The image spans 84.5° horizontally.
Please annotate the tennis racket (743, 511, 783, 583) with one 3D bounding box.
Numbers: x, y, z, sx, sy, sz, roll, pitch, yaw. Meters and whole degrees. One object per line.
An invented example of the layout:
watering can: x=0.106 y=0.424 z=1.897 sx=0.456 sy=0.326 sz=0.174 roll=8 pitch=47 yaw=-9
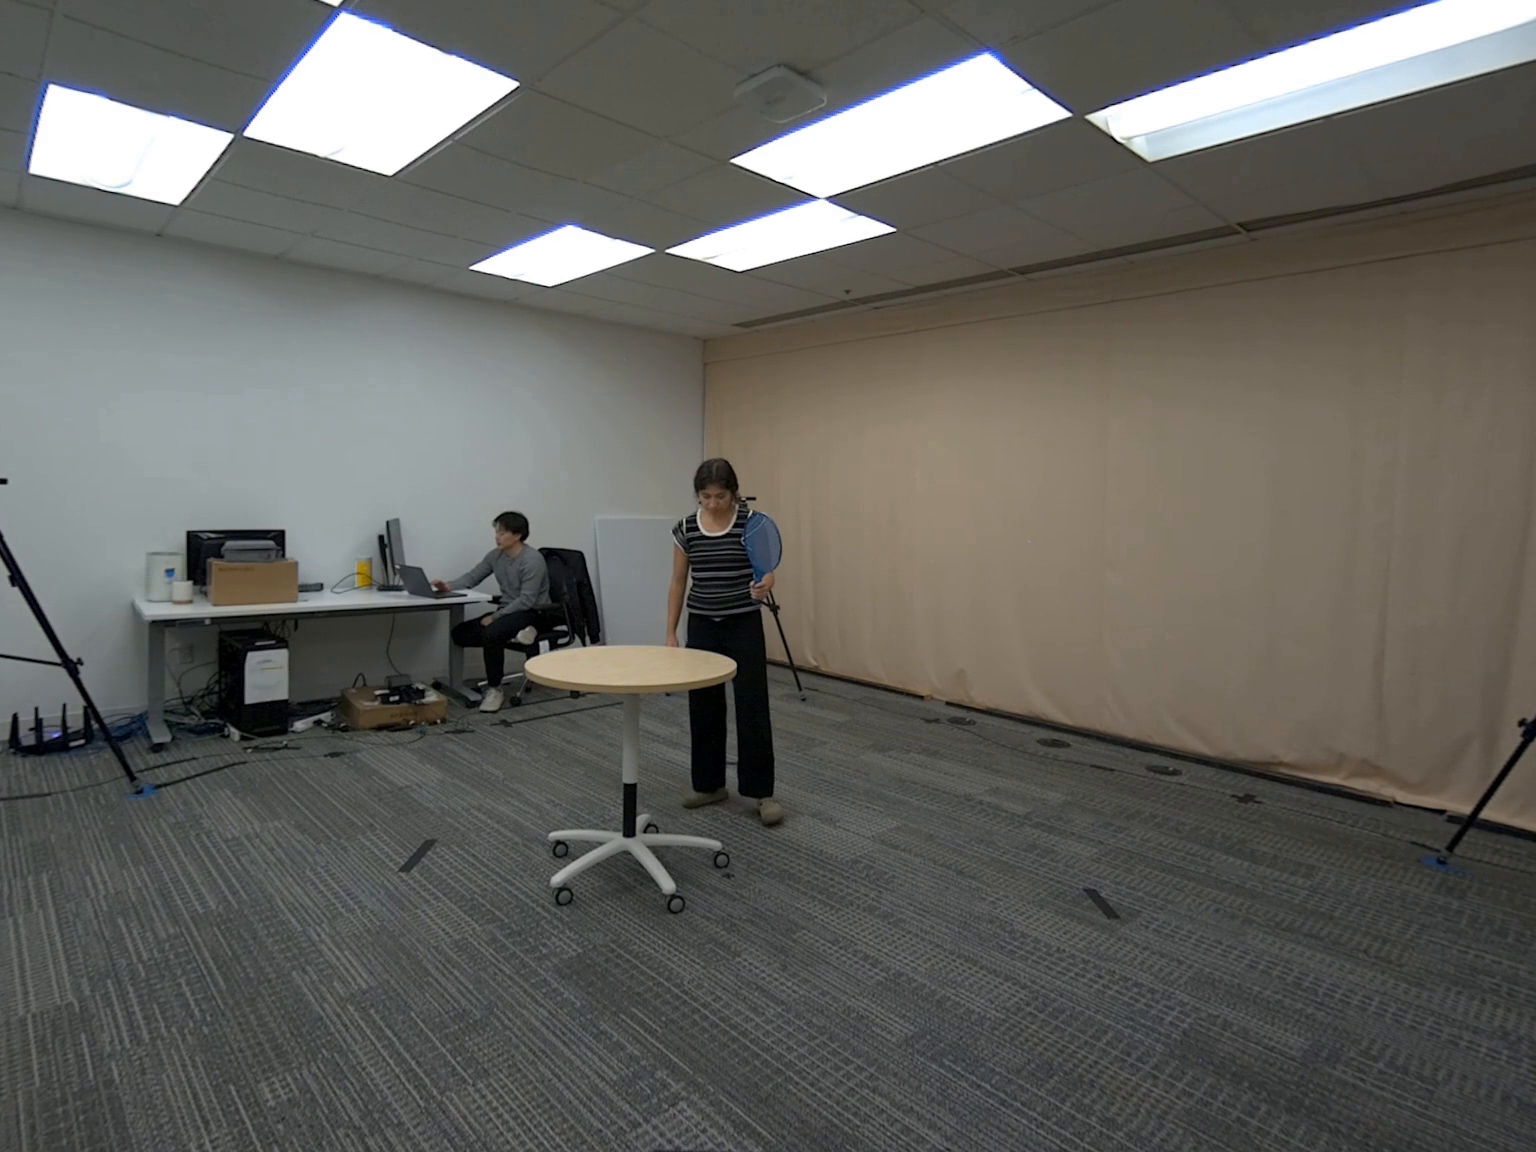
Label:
tennis racket: x=-0.046 y=-0.070 z=3.444 sx=0.031 sy=0.426 sz=0.220 roll=-19 pitch=48 yaw=-38
